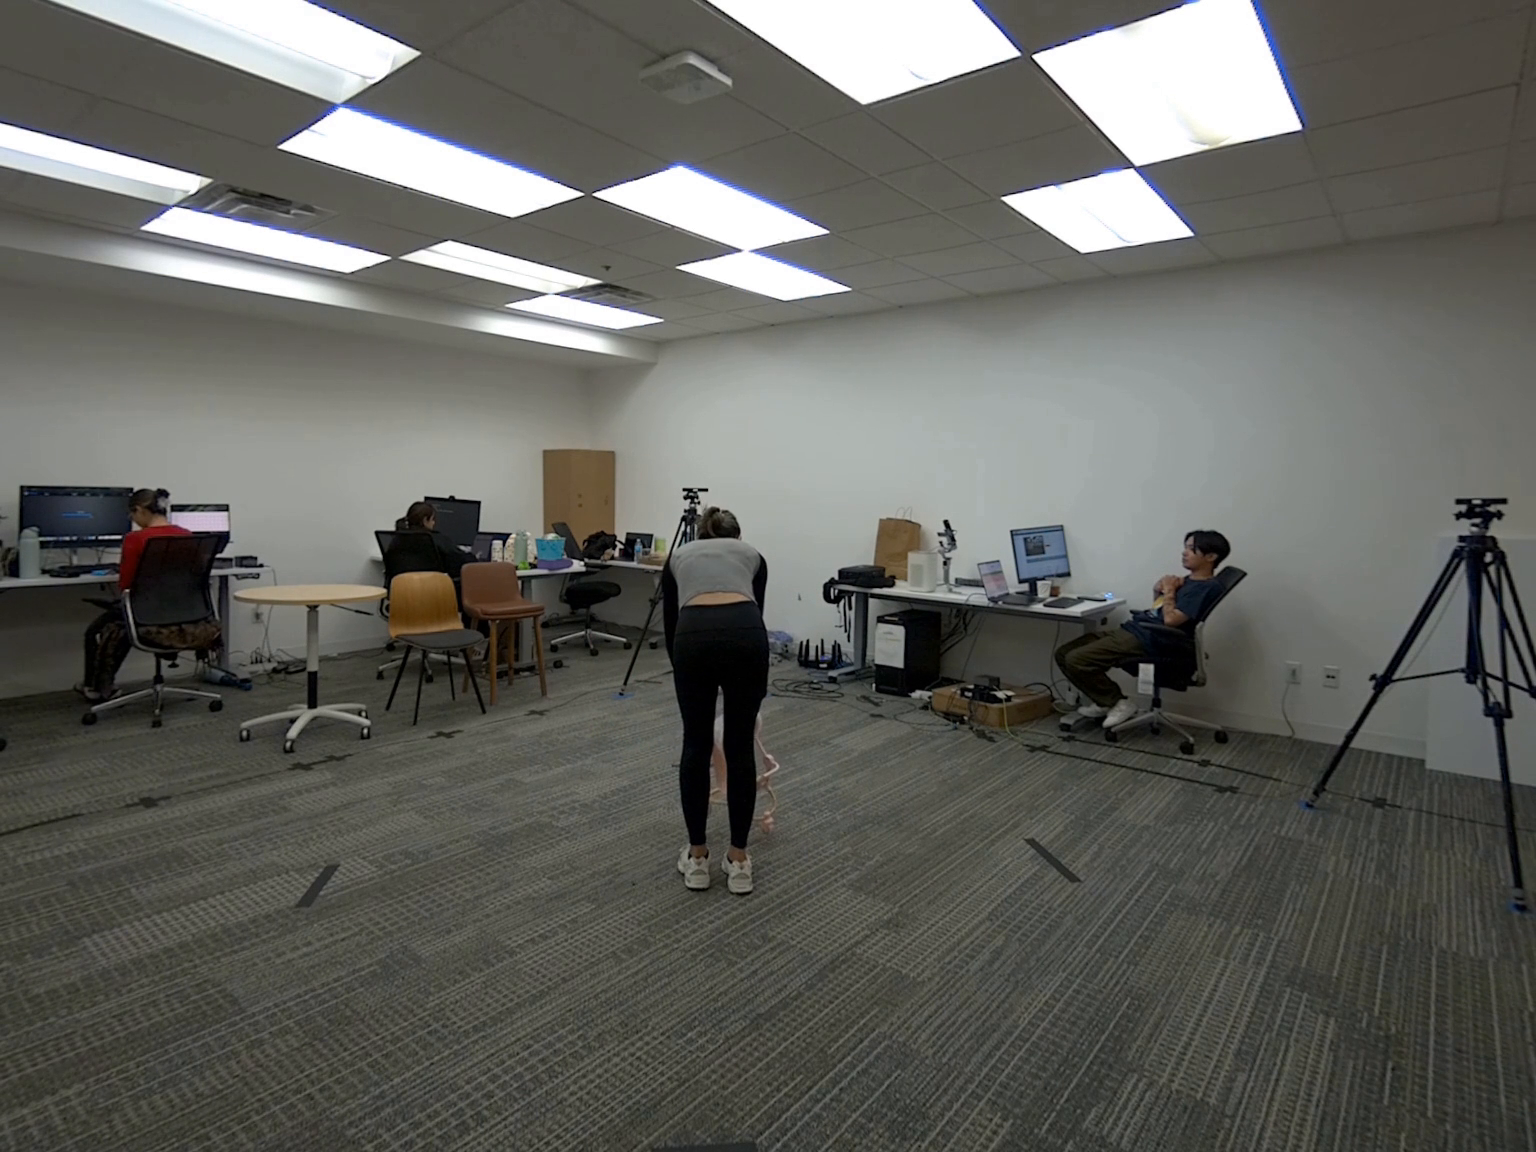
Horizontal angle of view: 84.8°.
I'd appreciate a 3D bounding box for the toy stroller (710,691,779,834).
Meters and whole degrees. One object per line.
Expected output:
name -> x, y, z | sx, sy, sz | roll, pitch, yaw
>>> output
toy stroller -> -0.125, 0.747, 3.403 | 0.274, 0.530, 0.353 | -12, 13, -41
